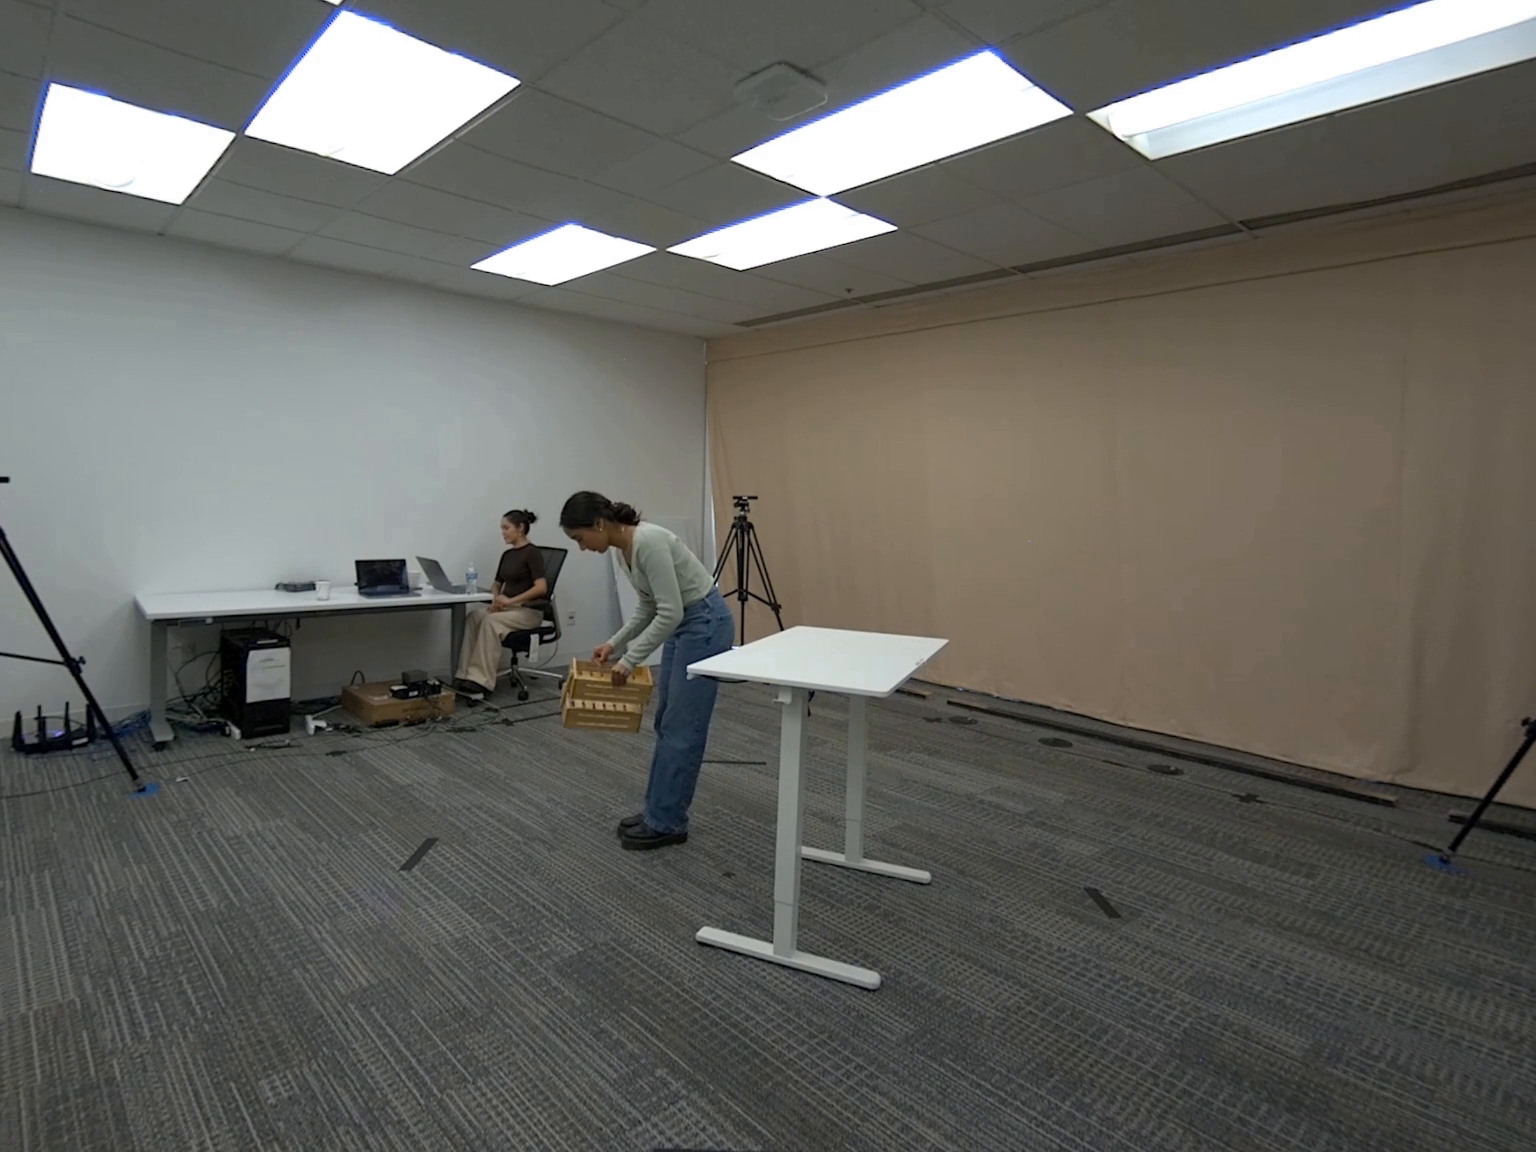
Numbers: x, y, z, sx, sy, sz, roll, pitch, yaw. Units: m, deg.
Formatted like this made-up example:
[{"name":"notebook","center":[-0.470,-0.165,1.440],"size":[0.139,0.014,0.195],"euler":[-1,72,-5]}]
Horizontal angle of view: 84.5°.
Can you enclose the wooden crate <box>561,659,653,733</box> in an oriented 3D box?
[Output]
[{"name":"wooden crate","center":[-0.652,0.446,3.370],"size":[0.320,0.270,0.309],"euler":[8,22,-17]}]
